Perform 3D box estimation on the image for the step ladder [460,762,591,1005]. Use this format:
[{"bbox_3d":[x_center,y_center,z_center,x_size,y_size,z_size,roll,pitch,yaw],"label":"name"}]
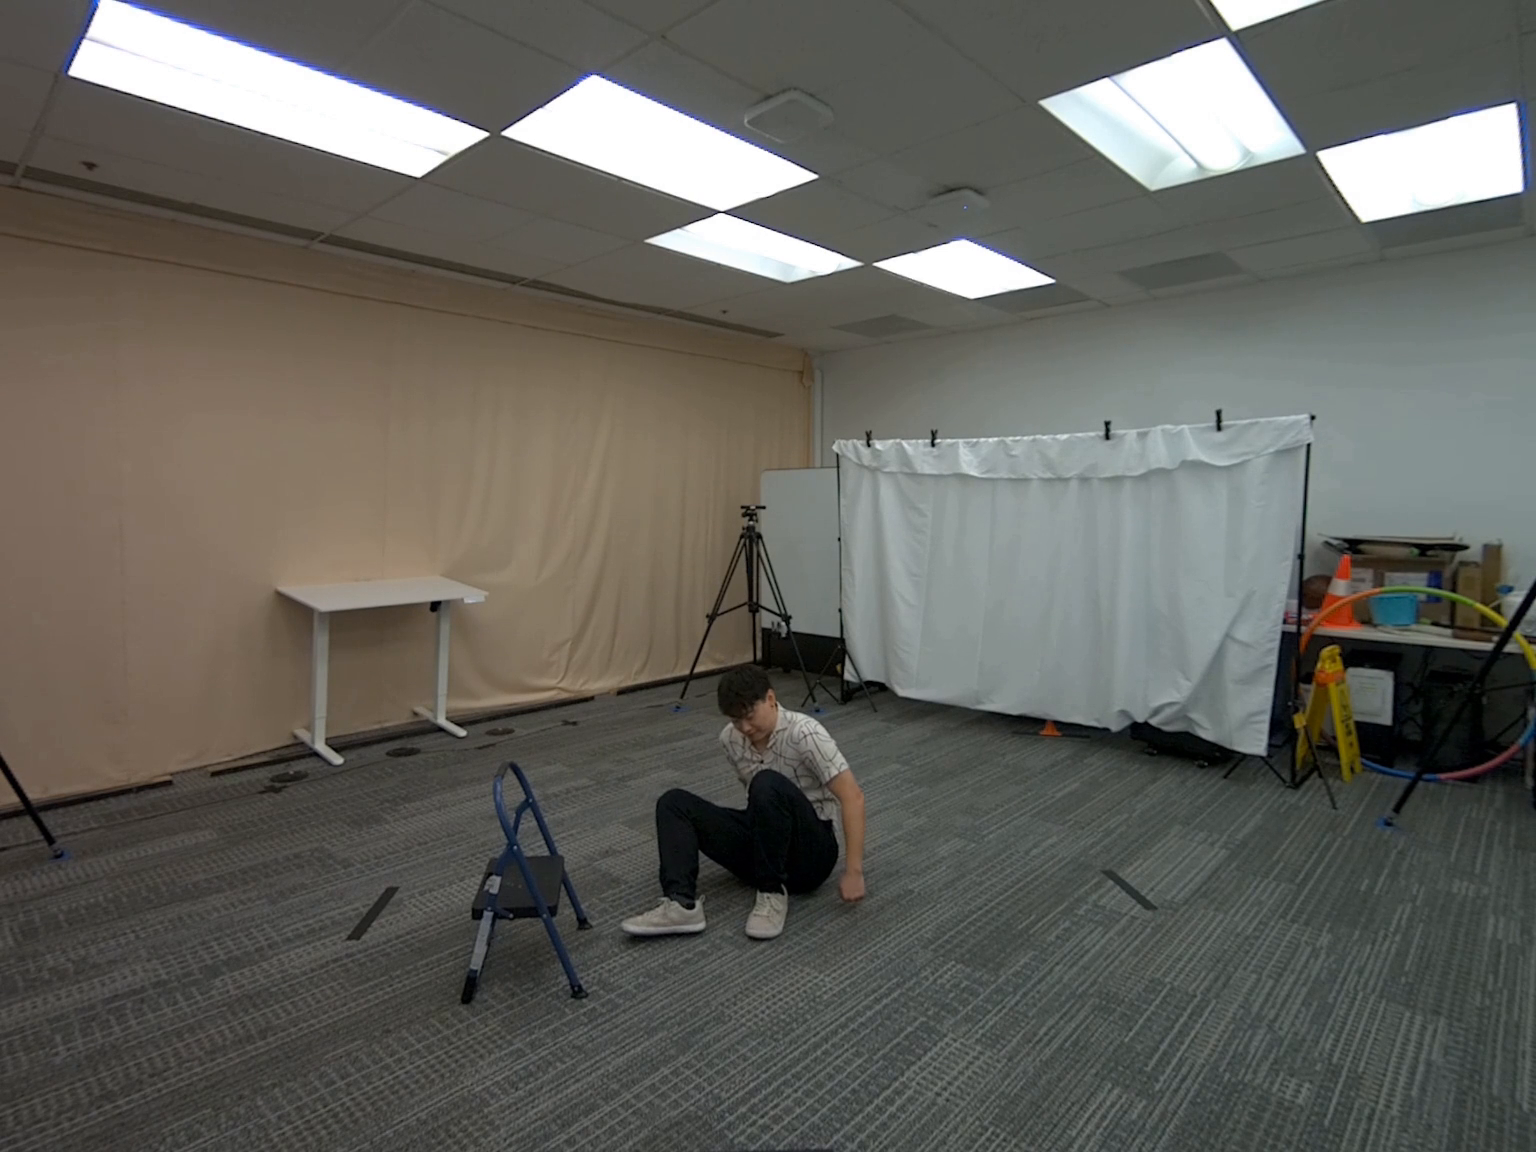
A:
[{"bbox_3d":[-0.729,0.885,2.557,0.346,0.605,0.435,-1,3,-10],"label":"step ladder"}]
